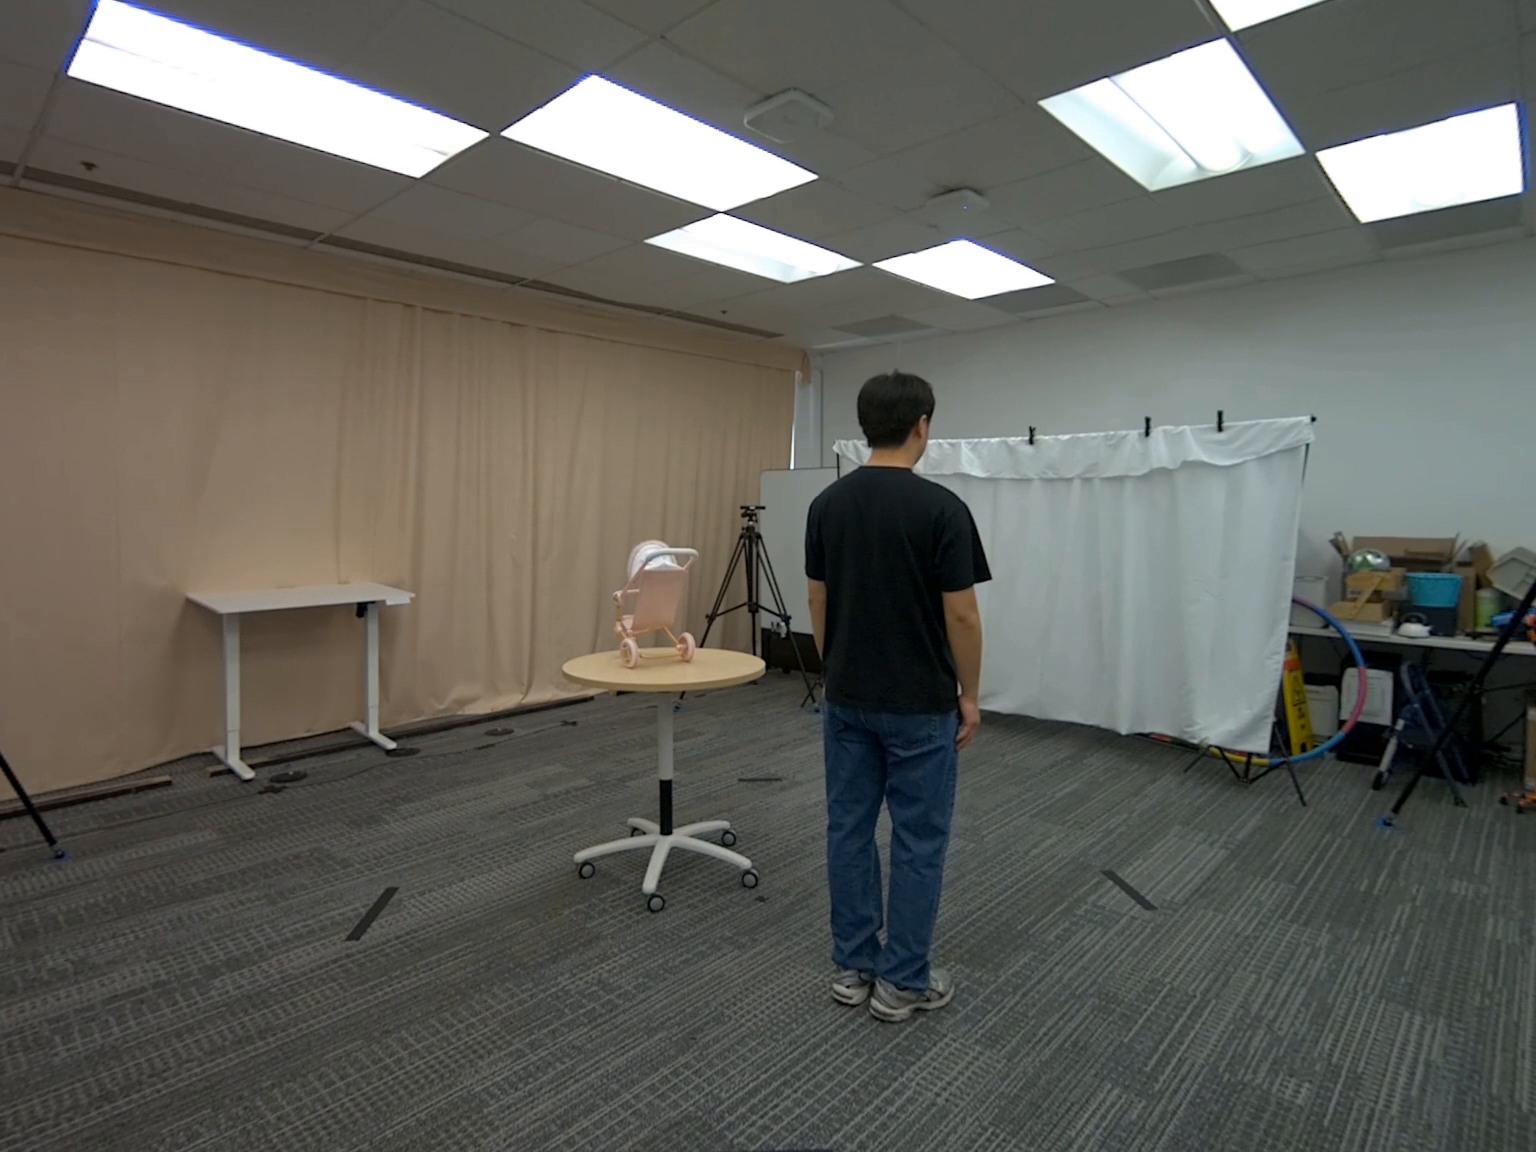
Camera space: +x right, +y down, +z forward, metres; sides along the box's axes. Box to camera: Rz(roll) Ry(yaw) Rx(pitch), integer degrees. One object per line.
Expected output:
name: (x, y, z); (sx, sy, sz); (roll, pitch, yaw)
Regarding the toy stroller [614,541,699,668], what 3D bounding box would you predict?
toy stroller: (-0.444, 0.105, 3.230); (0.274, 0.531, 0.353); (-1, 18, -30)
